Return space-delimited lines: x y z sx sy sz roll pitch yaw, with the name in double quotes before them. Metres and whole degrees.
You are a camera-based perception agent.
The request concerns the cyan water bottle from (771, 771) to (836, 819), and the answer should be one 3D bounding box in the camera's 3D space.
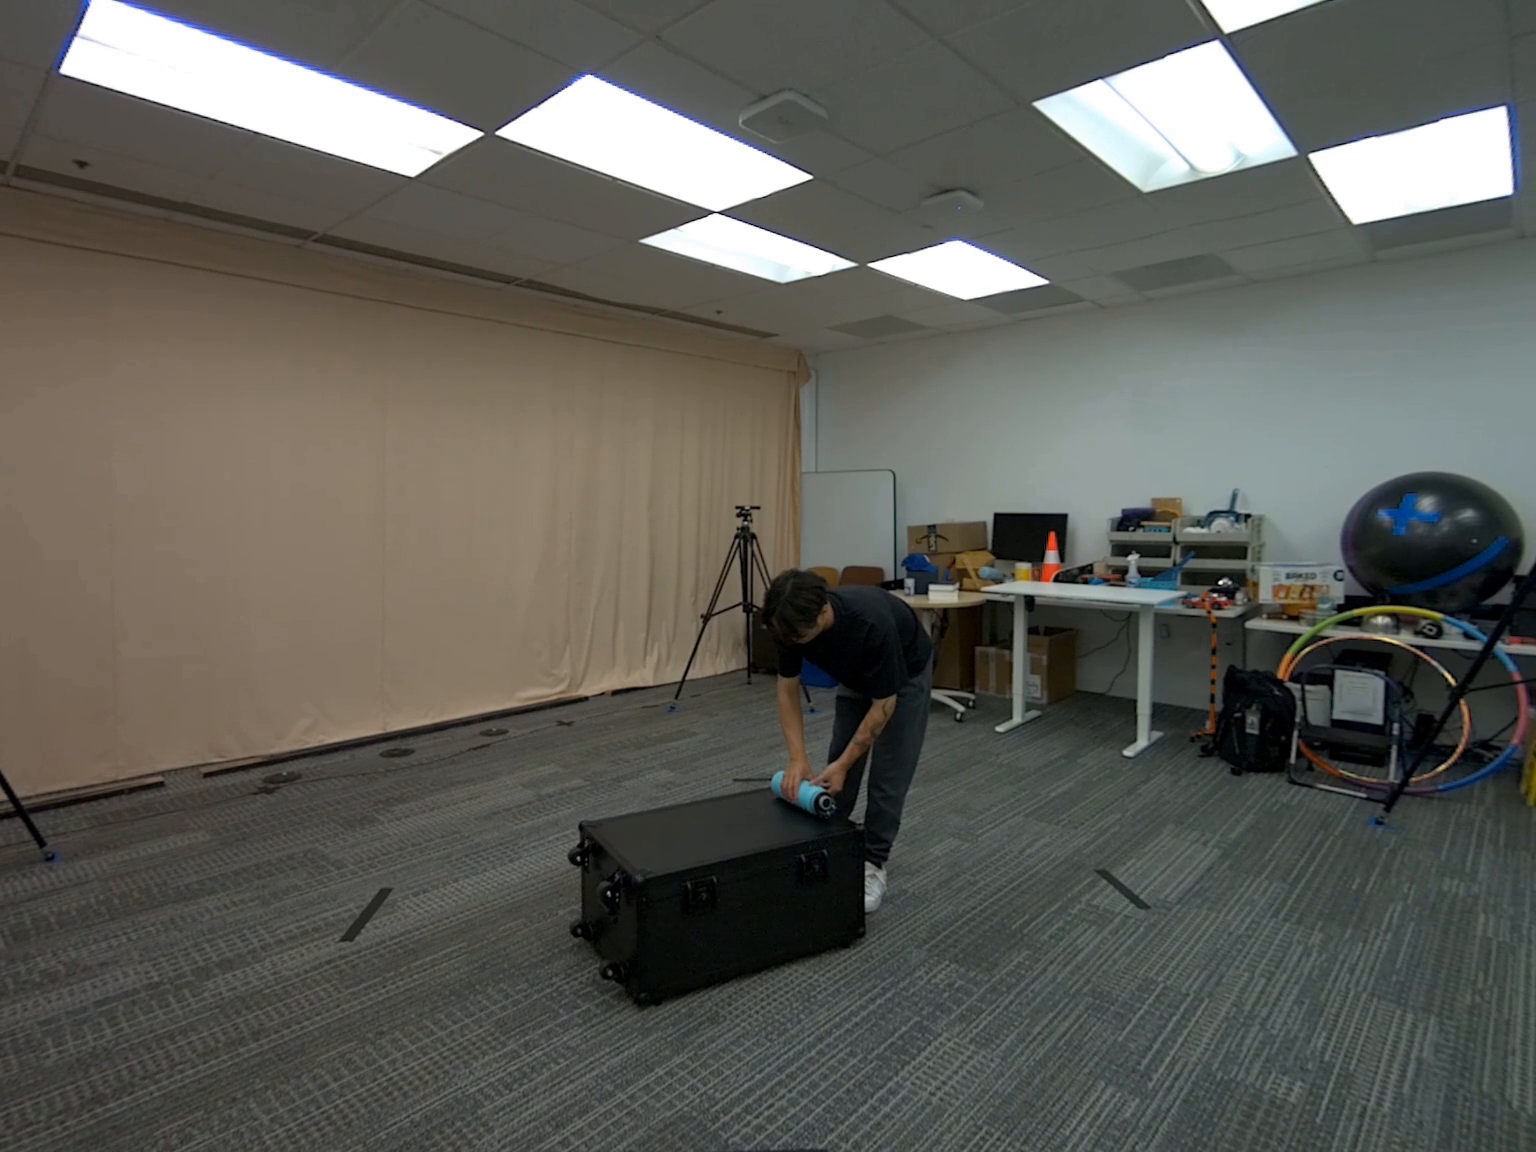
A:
"cyan water bottle" 0.128 0.729 2.819 0.090 0.092 0.292 -2 4 -33
